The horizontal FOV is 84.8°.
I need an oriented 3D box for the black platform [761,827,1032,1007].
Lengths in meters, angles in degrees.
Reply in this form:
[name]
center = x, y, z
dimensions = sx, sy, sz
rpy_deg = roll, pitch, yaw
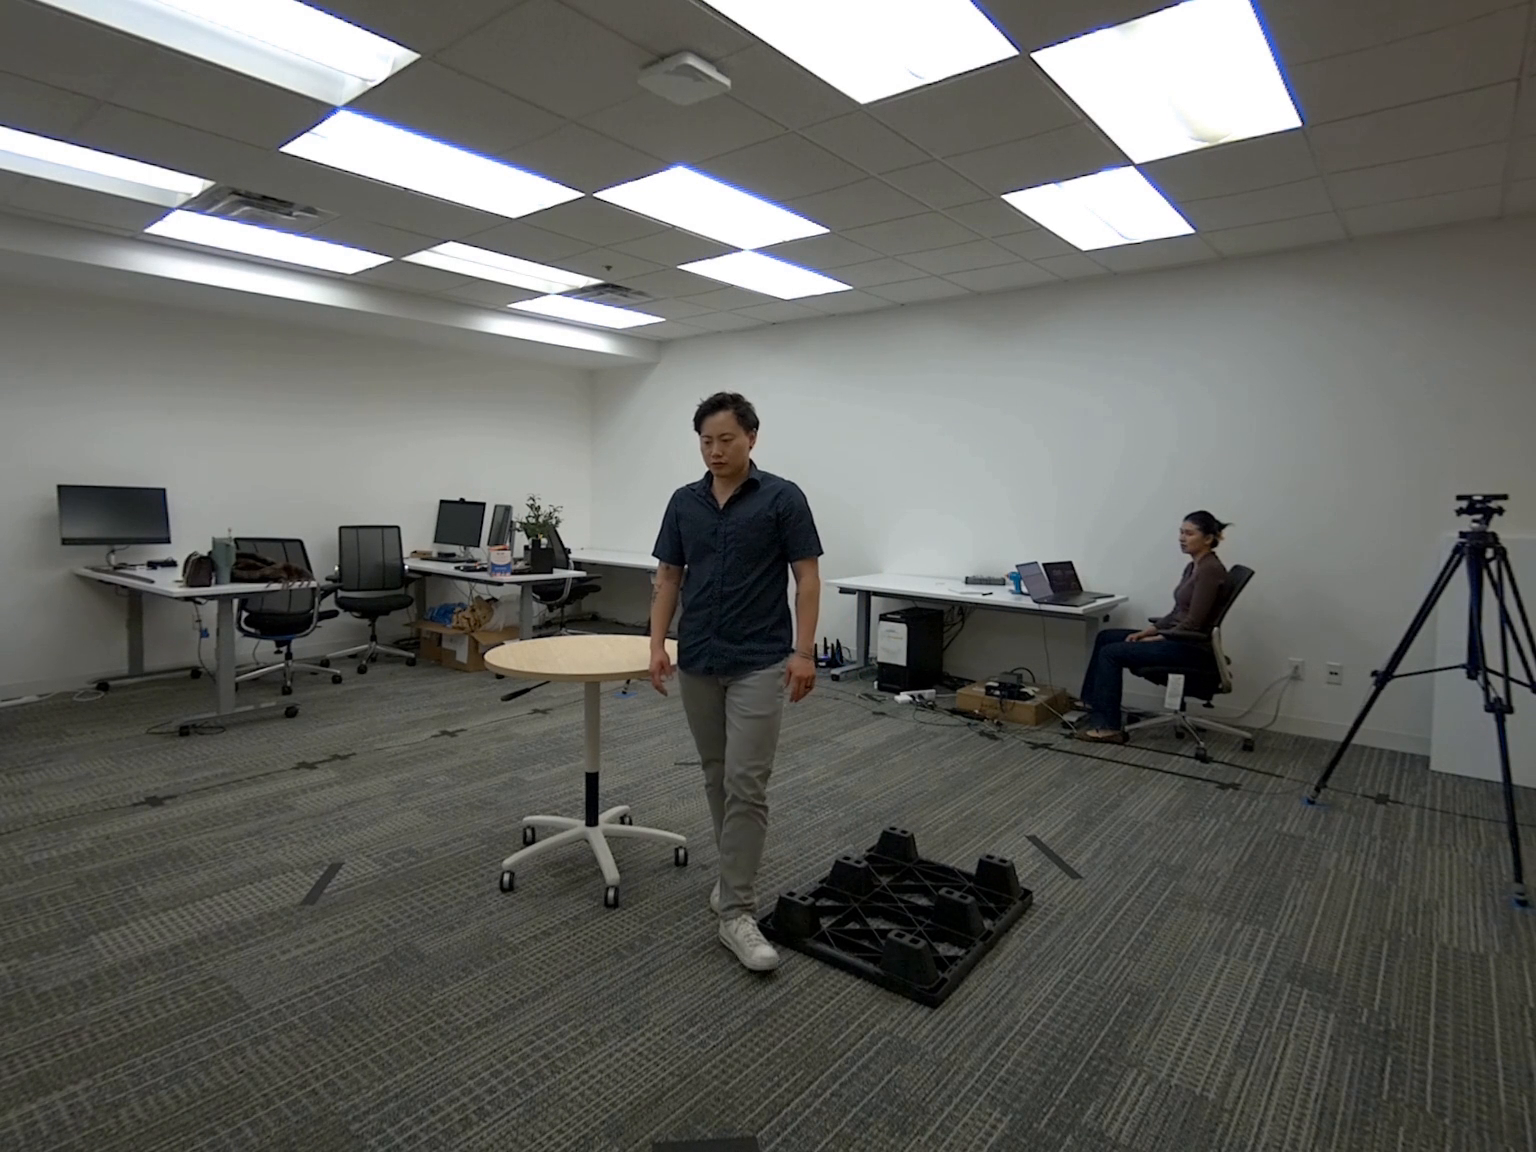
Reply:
[black platform]
center = 0.430, 1.045, 2.766
dimensions = 0.625, 0.143, 0.783
rpy_deg = 5, 7, 37
